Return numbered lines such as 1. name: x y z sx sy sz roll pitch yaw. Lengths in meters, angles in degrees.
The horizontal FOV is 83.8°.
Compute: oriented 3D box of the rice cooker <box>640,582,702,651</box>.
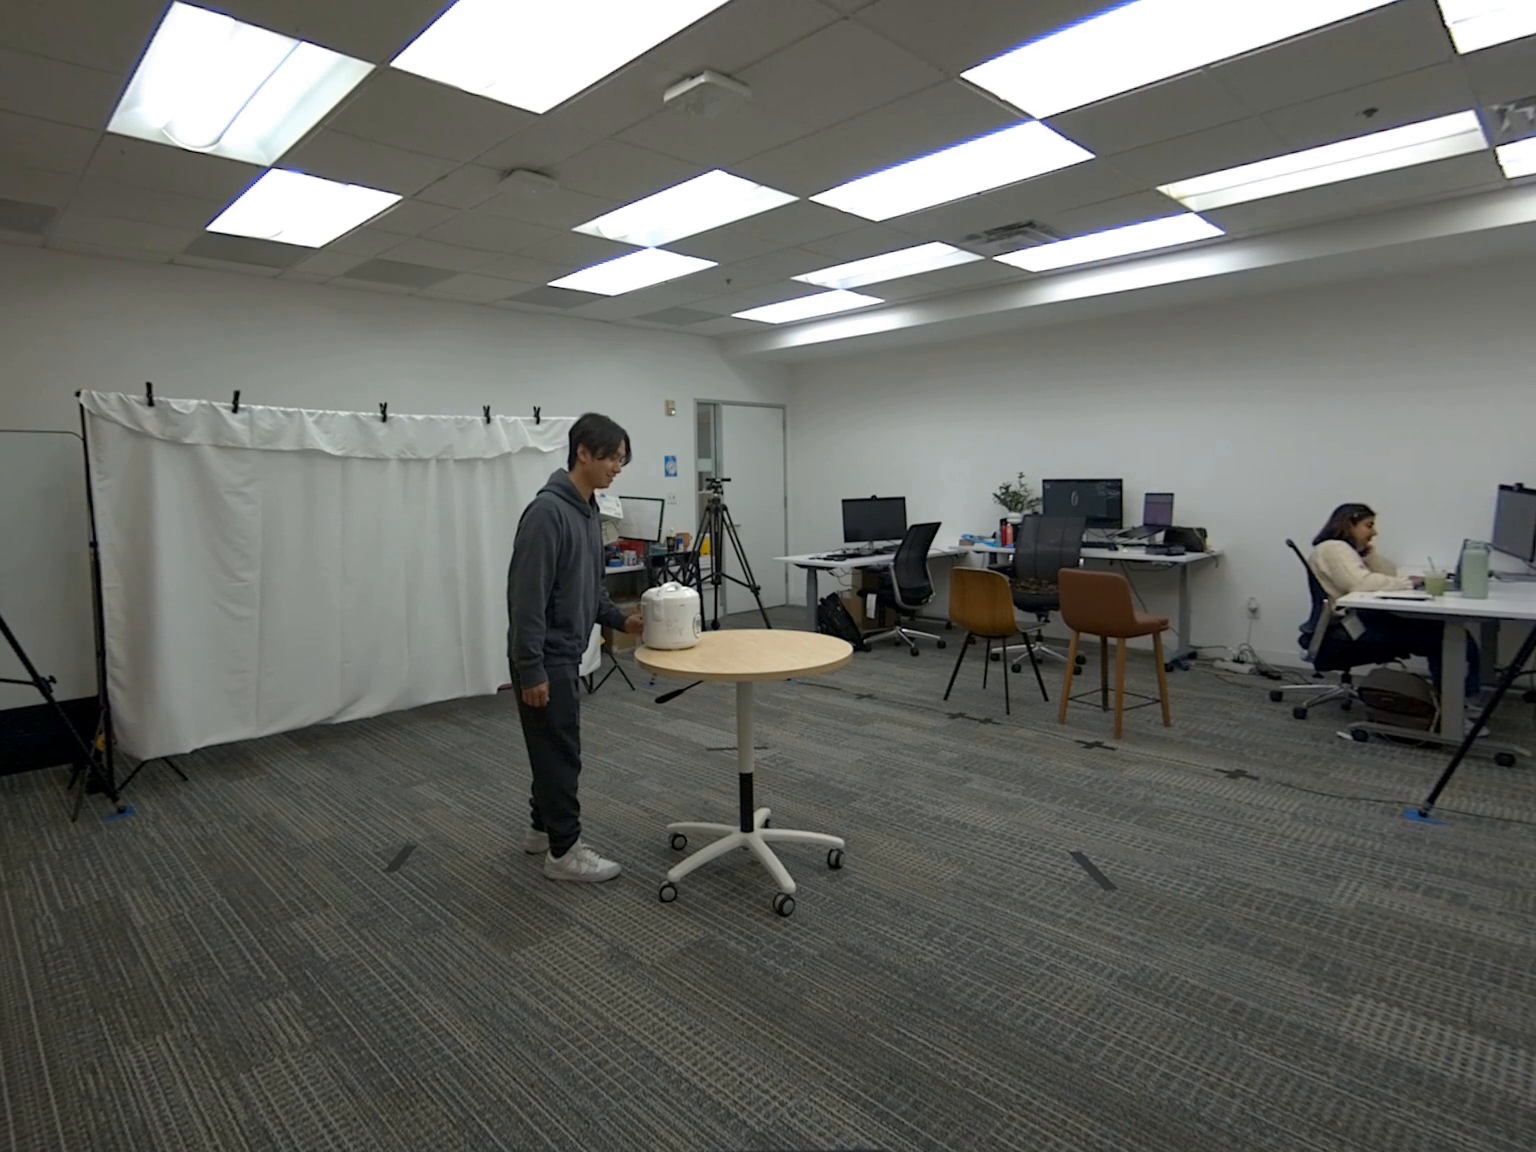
1. rice cooker: -0.350 0.137 3.087 0.222 0.232 0.217 0 5 23
